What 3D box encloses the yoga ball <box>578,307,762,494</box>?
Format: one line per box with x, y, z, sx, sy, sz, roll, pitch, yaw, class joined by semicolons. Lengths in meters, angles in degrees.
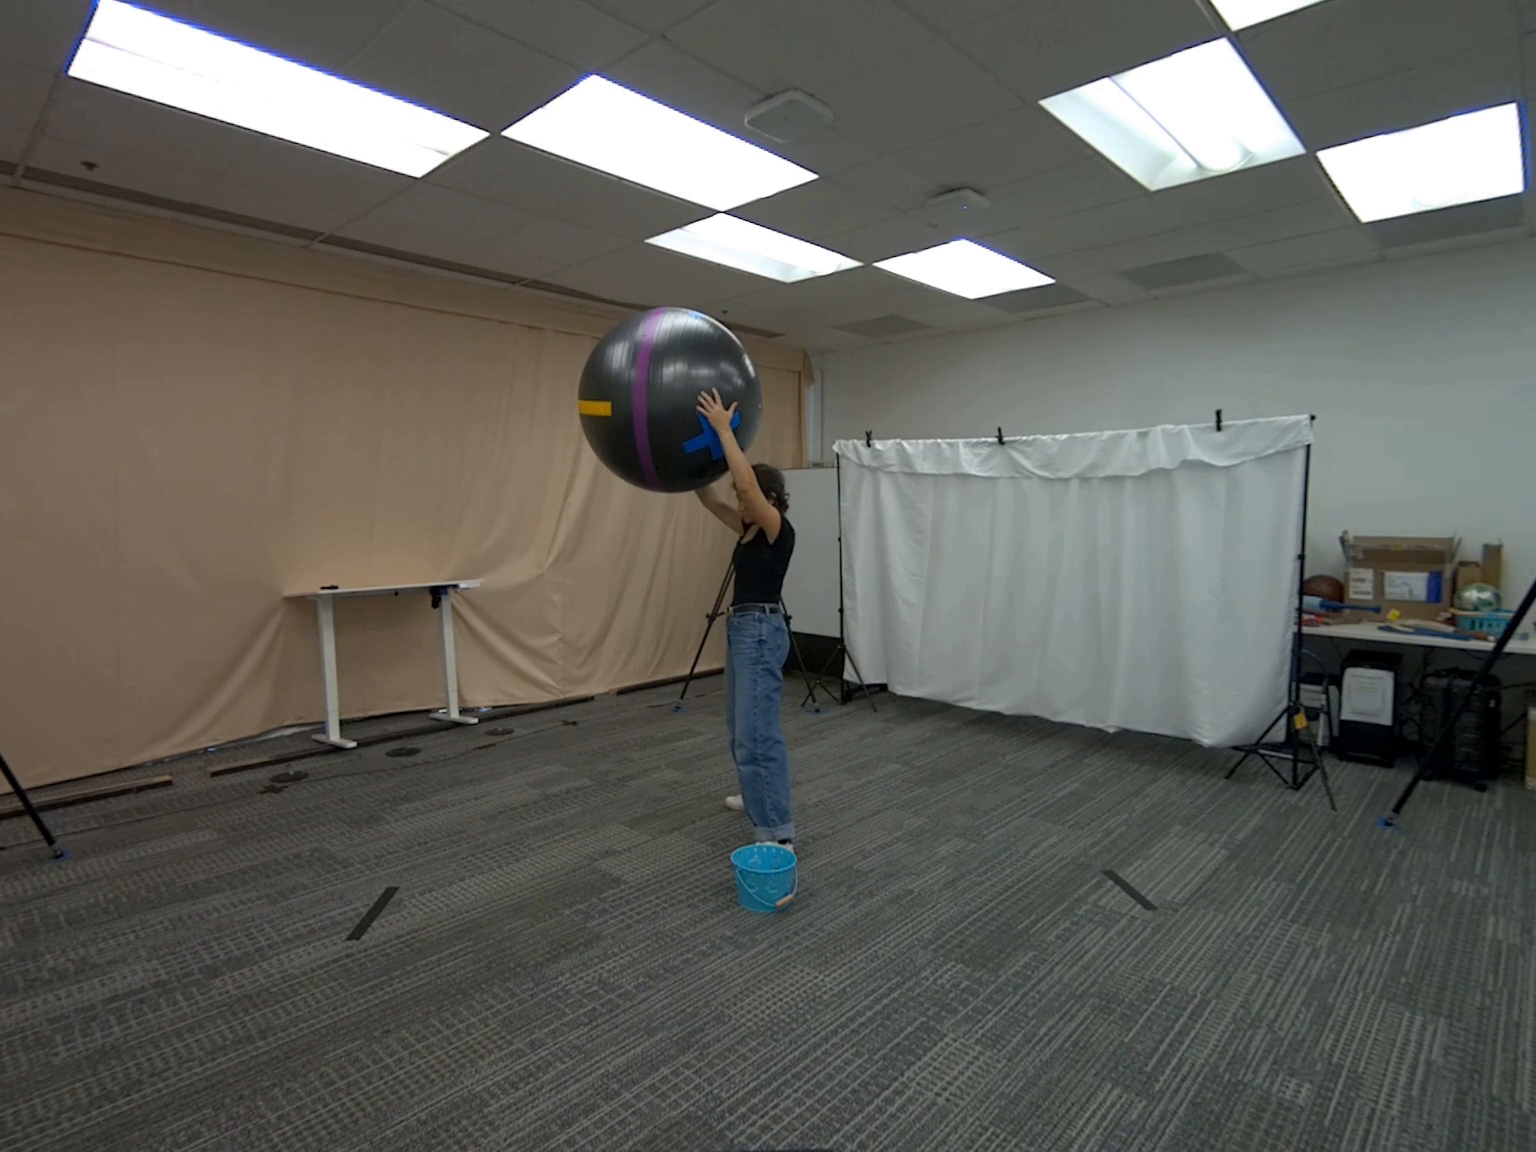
-0.415;-0.703;3.493;0.757;0.756;0.760;0;4;-2;yoga ball
